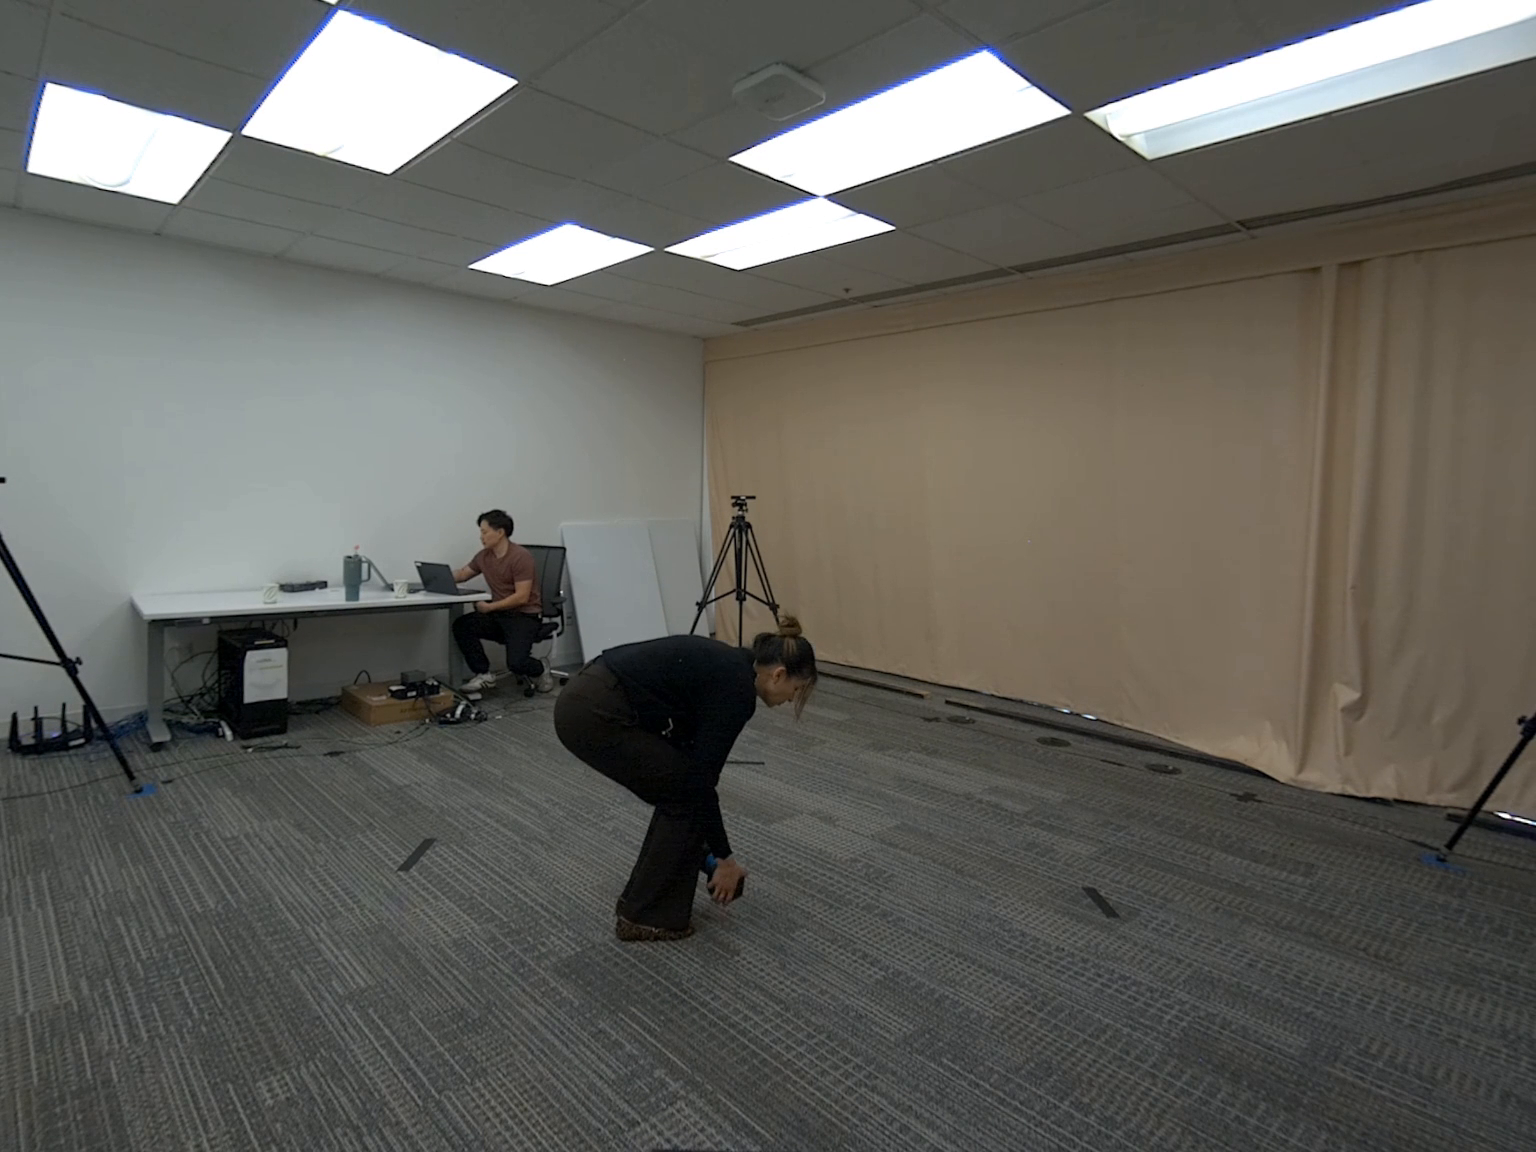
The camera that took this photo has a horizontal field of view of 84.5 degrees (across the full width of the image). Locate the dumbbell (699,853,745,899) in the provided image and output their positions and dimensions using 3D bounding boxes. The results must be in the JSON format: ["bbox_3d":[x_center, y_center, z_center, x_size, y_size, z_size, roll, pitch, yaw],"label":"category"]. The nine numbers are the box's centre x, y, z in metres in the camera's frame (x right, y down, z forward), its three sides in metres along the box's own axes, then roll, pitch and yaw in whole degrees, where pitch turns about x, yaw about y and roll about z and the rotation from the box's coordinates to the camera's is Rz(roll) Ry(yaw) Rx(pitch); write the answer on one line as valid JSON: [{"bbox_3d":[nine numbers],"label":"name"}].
[{"bbox_3d":[-0.178,0.970,2.774,0.108,0.123,0.296,5,3,-11],"label":"dumbbell"}]
